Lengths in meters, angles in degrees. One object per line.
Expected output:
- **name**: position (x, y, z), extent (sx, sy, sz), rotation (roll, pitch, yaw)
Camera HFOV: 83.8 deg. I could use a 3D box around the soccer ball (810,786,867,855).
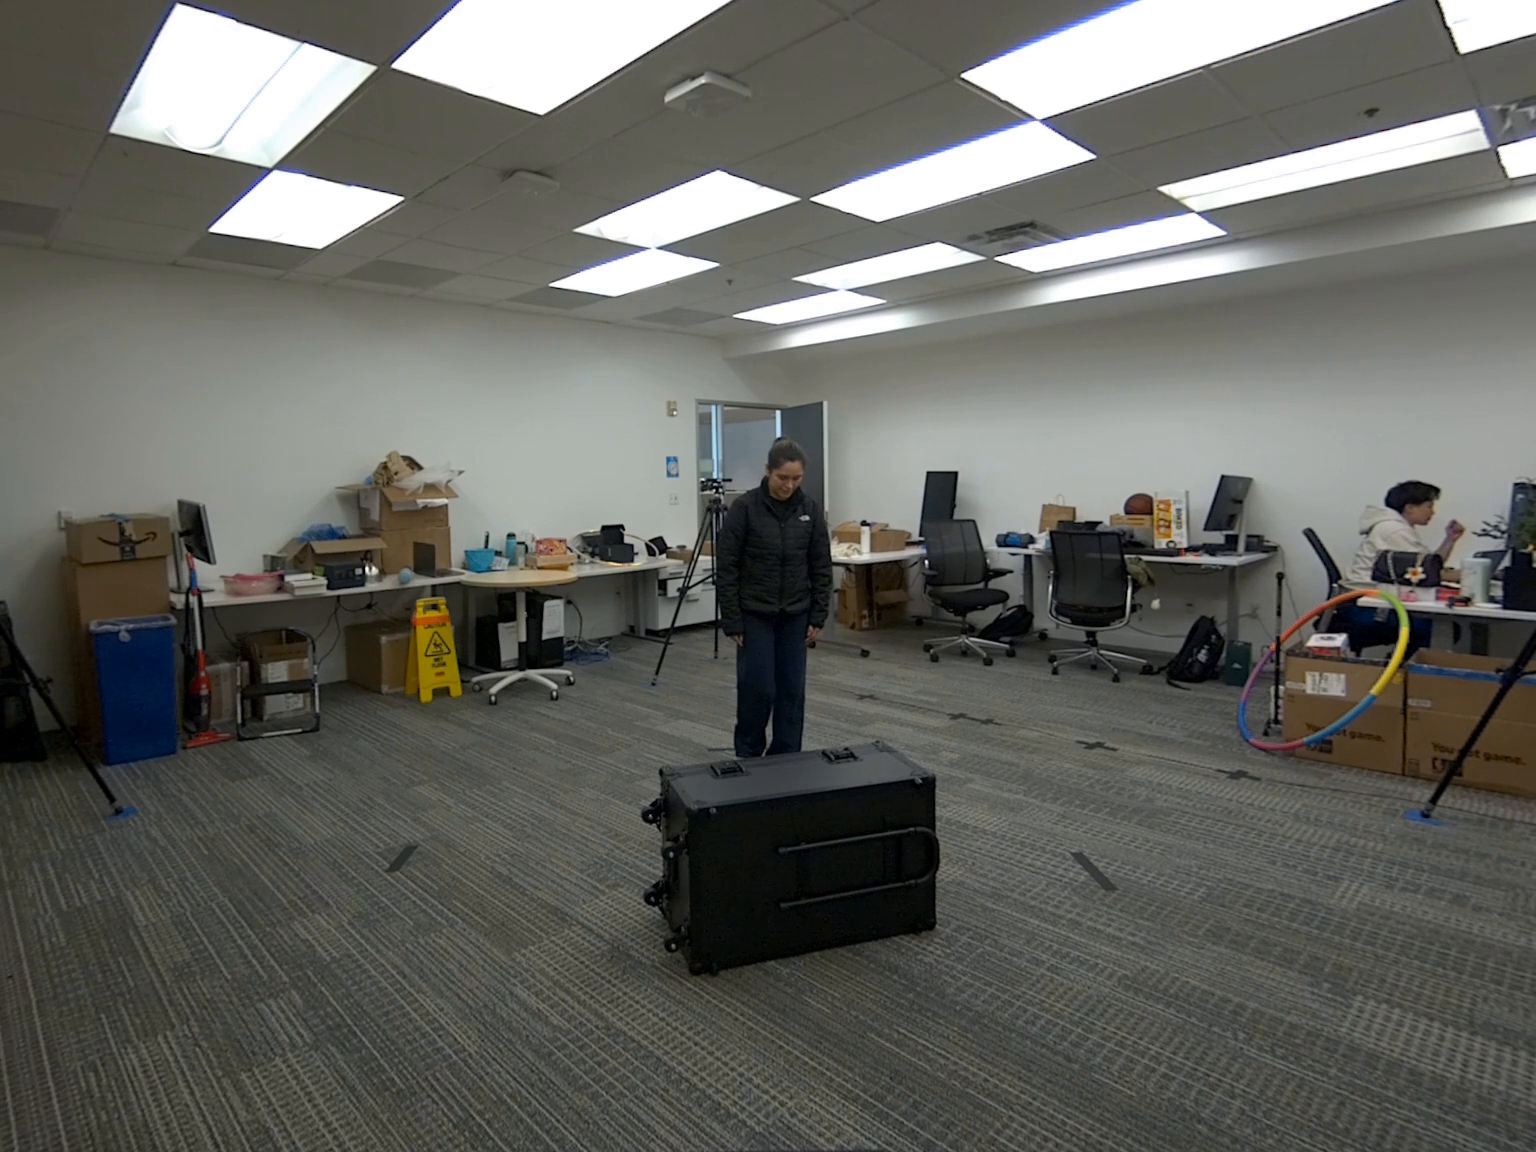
- **soccer ball**: position (0.266, 0.933, 3.292), extent (0.187, 0.187, 0.188), rotation (-1, 5, -2)
